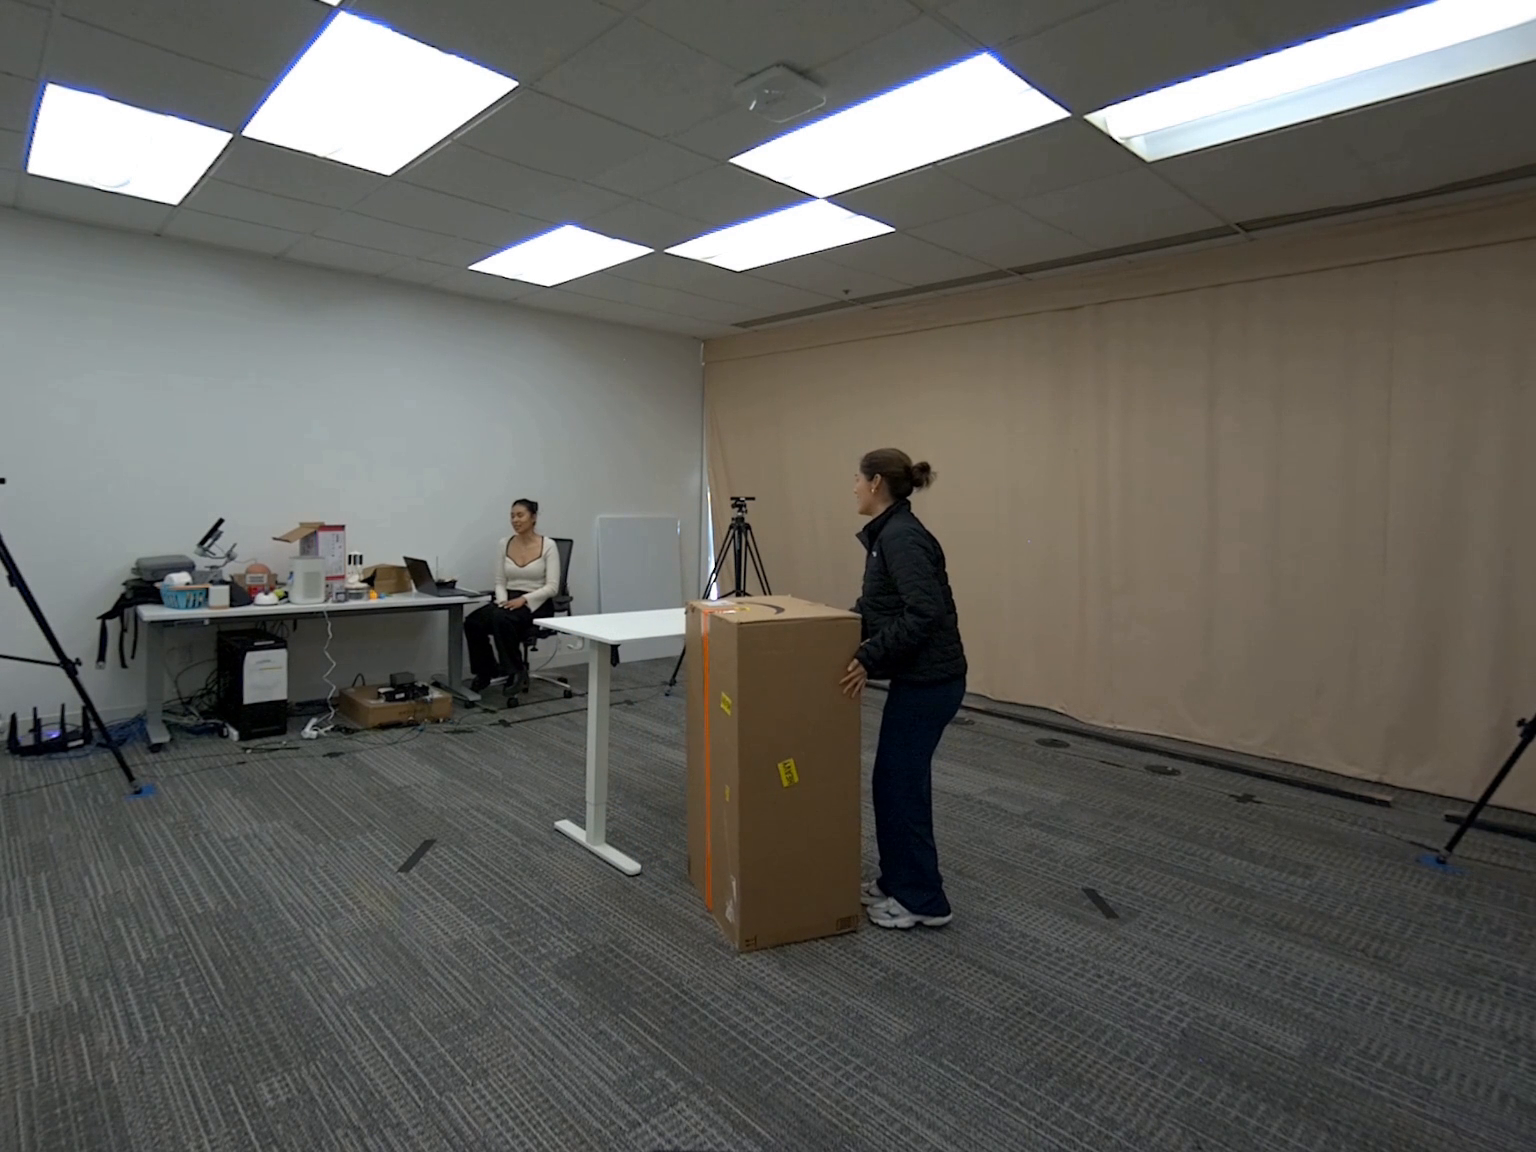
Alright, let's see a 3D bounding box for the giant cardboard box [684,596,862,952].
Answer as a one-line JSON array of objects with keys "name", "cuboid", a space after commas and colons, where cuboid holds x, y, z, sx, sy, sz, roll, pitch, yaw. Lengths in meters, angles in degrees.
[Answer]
[{"name": "giant cardboard box", "cuboid": [-0.009, 0.619, 2.872, 0.420, 1.023, 0.588, -2, 4, -22]}]
